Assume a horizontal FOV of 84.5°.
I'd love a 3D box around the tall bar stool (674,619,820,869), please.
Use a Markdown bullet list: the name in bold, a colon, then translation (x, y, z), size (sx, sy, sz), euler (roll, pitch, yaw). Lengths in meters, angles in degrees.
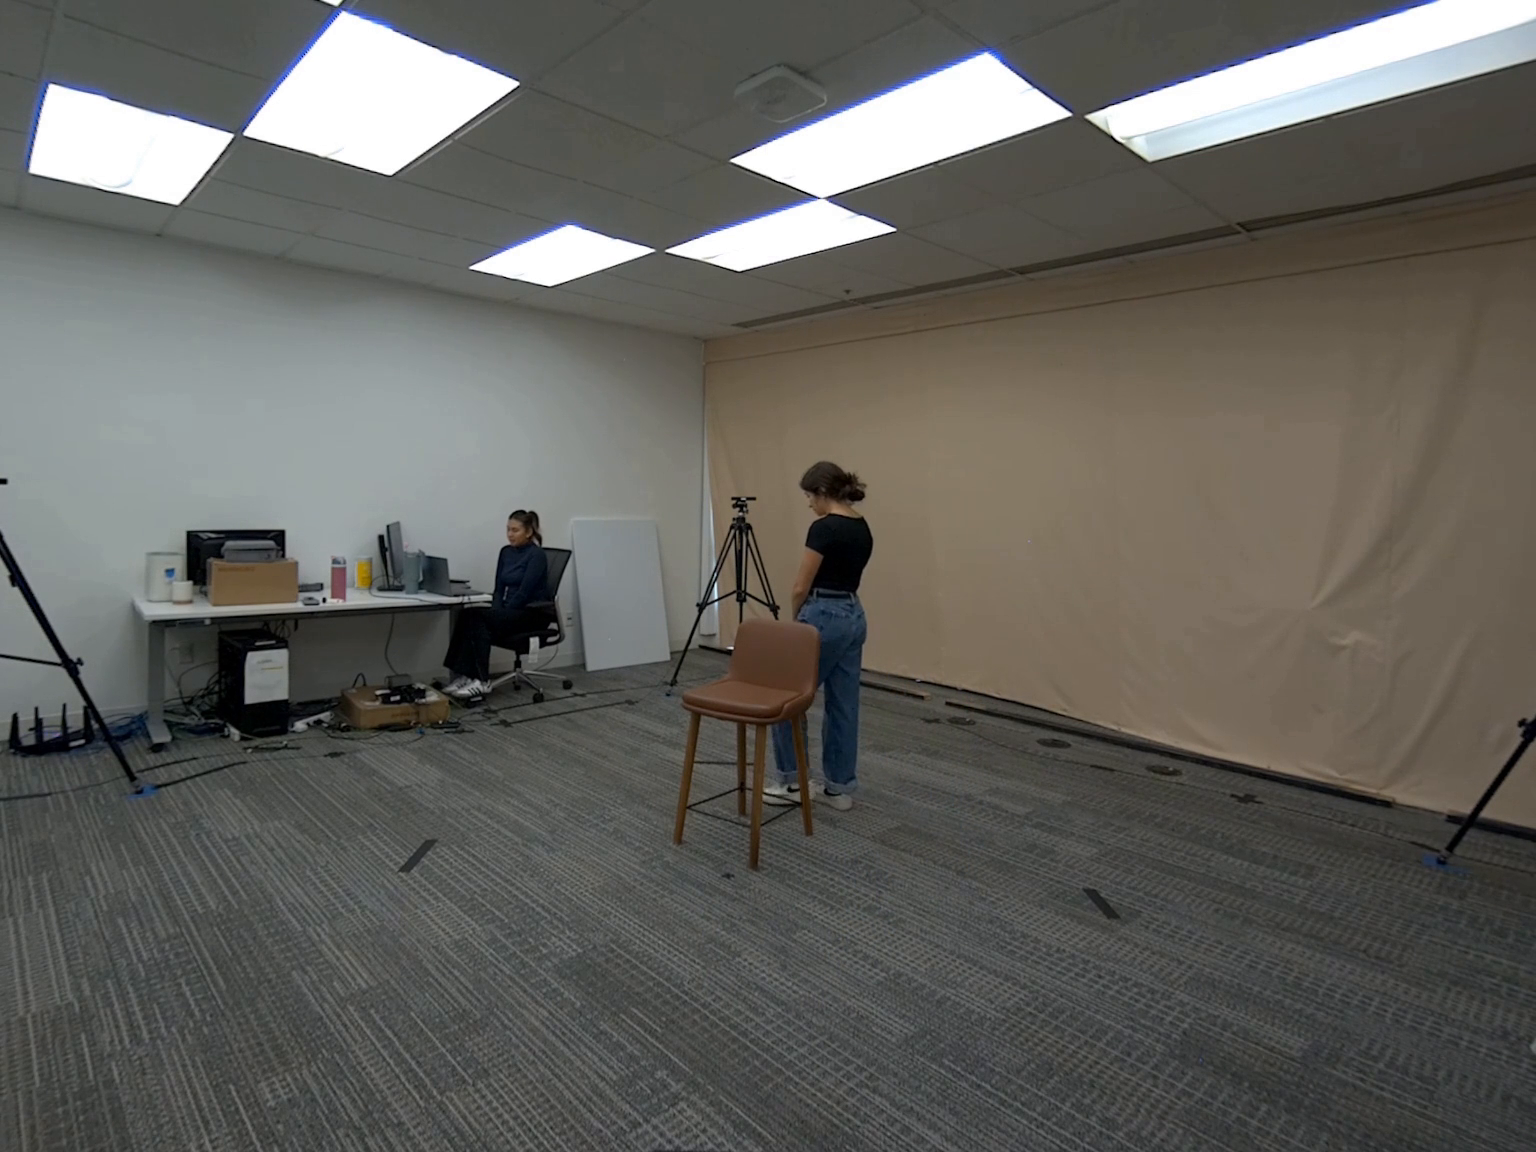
- **tall bar stool**: translation (-0.081, 0.644, 3.432), size (0.467, 0.889, 0.457), euler (4, 2, 37)
